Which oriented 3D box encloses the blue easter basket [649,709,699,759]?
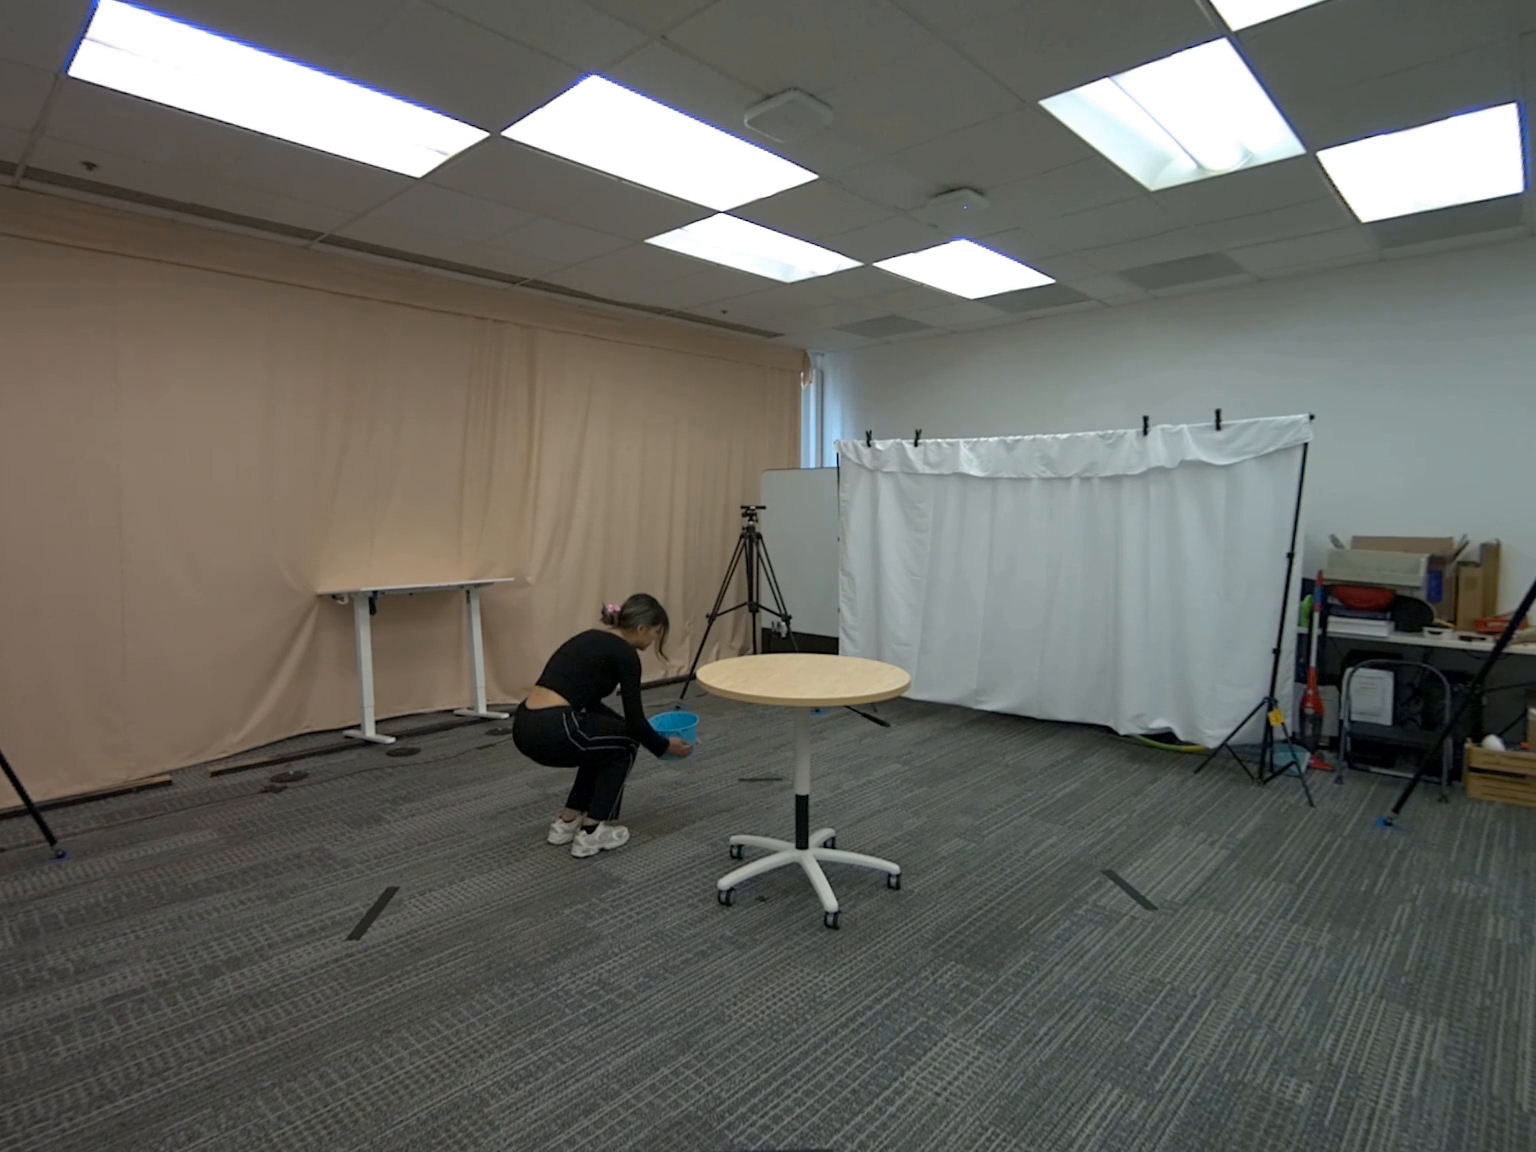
[{"bbox_3d":[-0.425,0.718,3.758,0.243,0.155,0.245,-4,11,-1],"label":"blue easter basket"}]
